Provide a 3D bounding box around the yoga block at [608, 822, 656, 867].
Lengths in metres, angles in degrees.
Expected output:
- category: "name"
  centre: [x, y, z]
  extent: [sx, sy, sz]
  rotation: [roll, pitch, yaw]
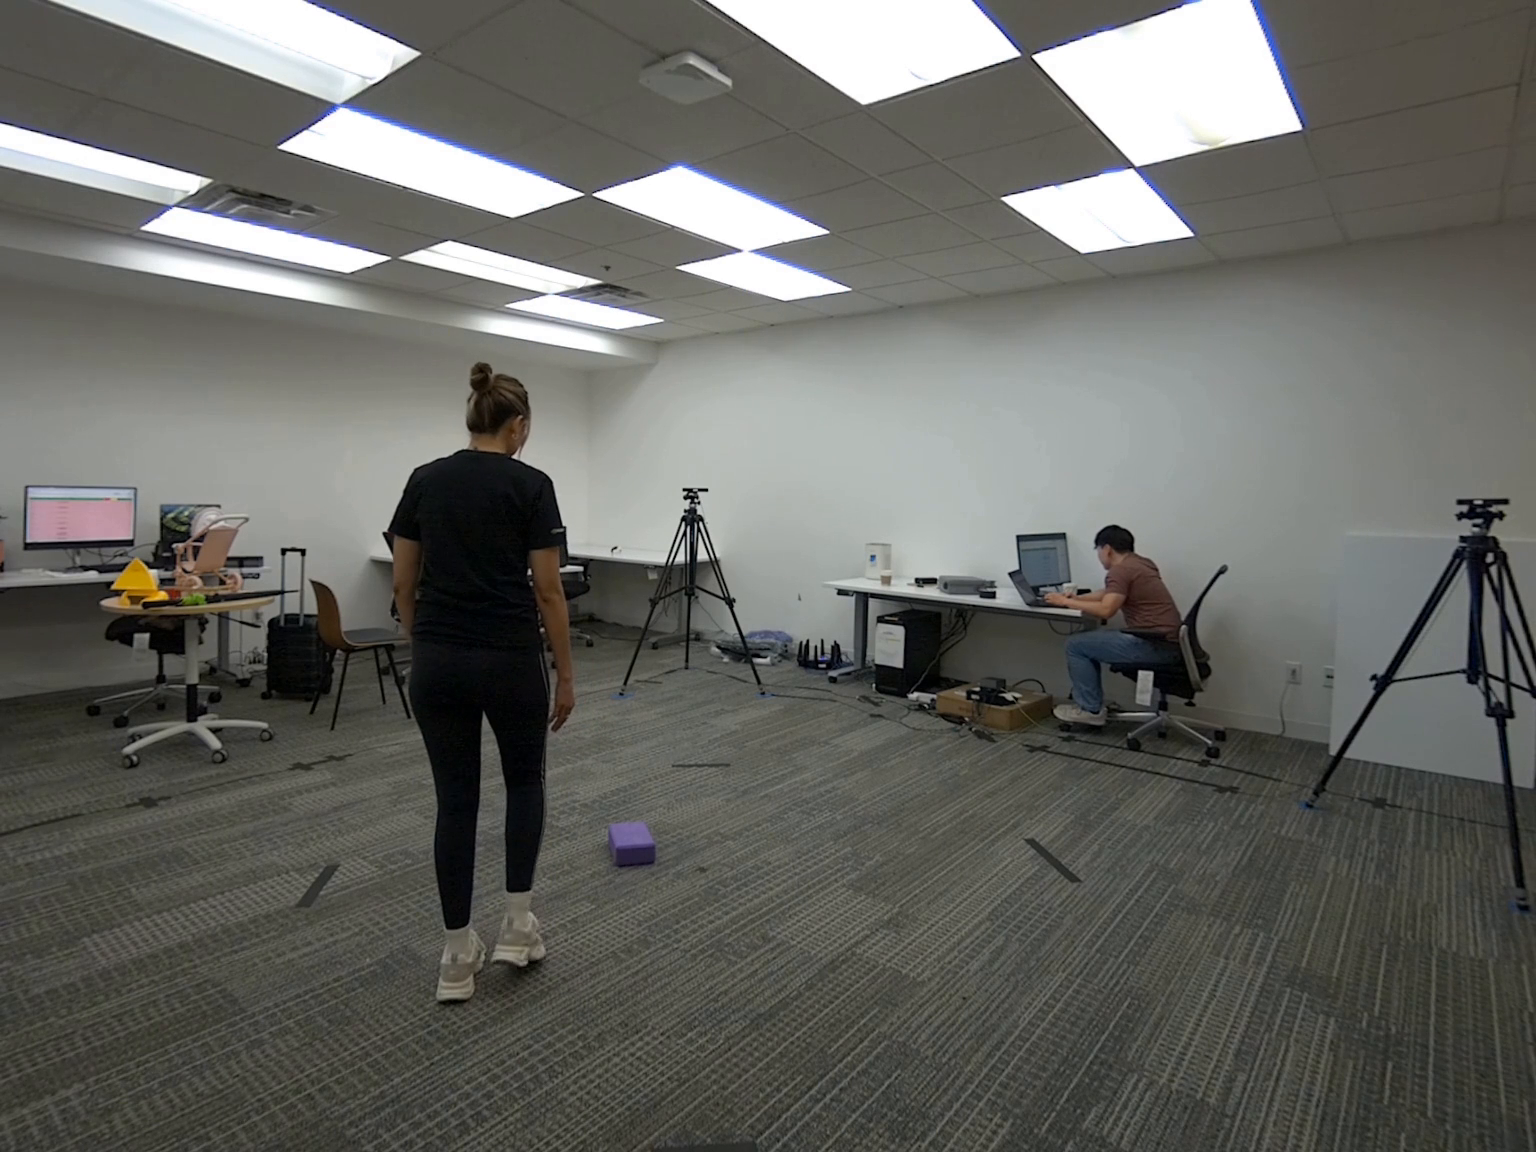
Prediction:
- category: "yoga block"
  centre: [-0.529, 1.014, 3.233]
  extent: [0.146, 0.076, 0.234]
  rotation: [0, 5, -17]
